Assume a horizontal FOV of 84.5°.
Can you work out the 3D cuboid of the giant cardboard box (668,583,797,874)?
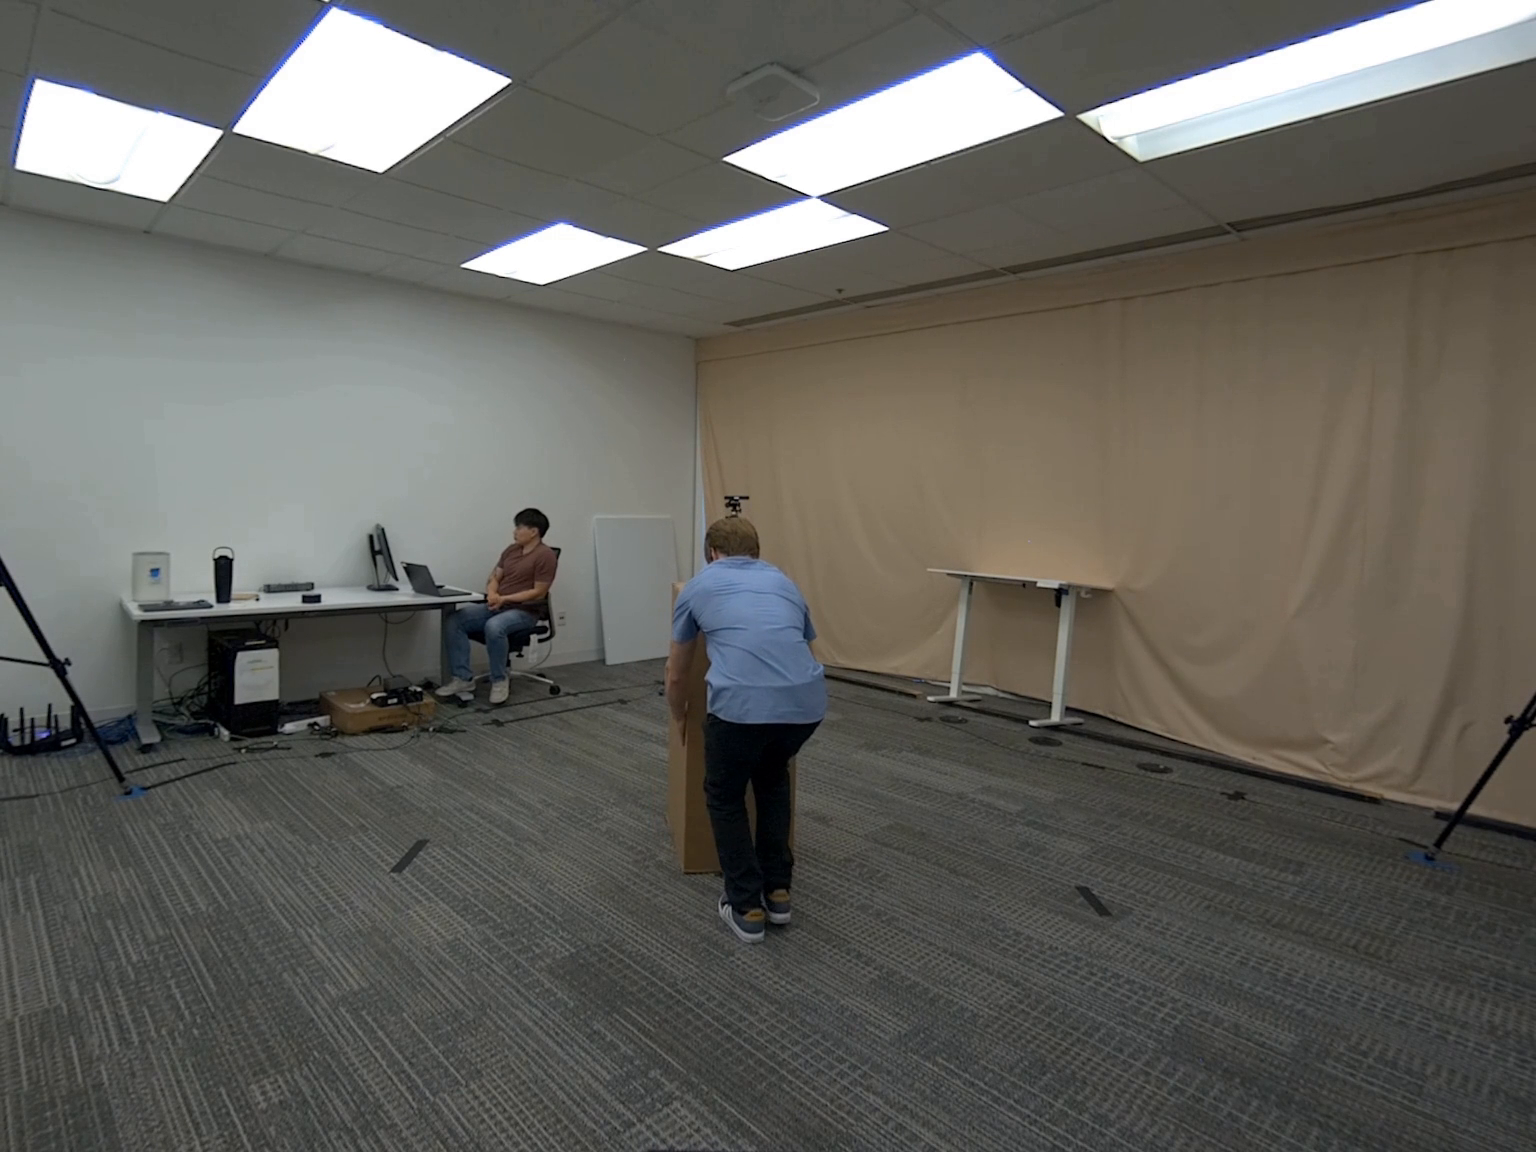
[{"bbox_3d":[-0.158,0.572,3.394,0.422,1.024,0.584,1,3,-12],"label":"giant cardboard box"}]
